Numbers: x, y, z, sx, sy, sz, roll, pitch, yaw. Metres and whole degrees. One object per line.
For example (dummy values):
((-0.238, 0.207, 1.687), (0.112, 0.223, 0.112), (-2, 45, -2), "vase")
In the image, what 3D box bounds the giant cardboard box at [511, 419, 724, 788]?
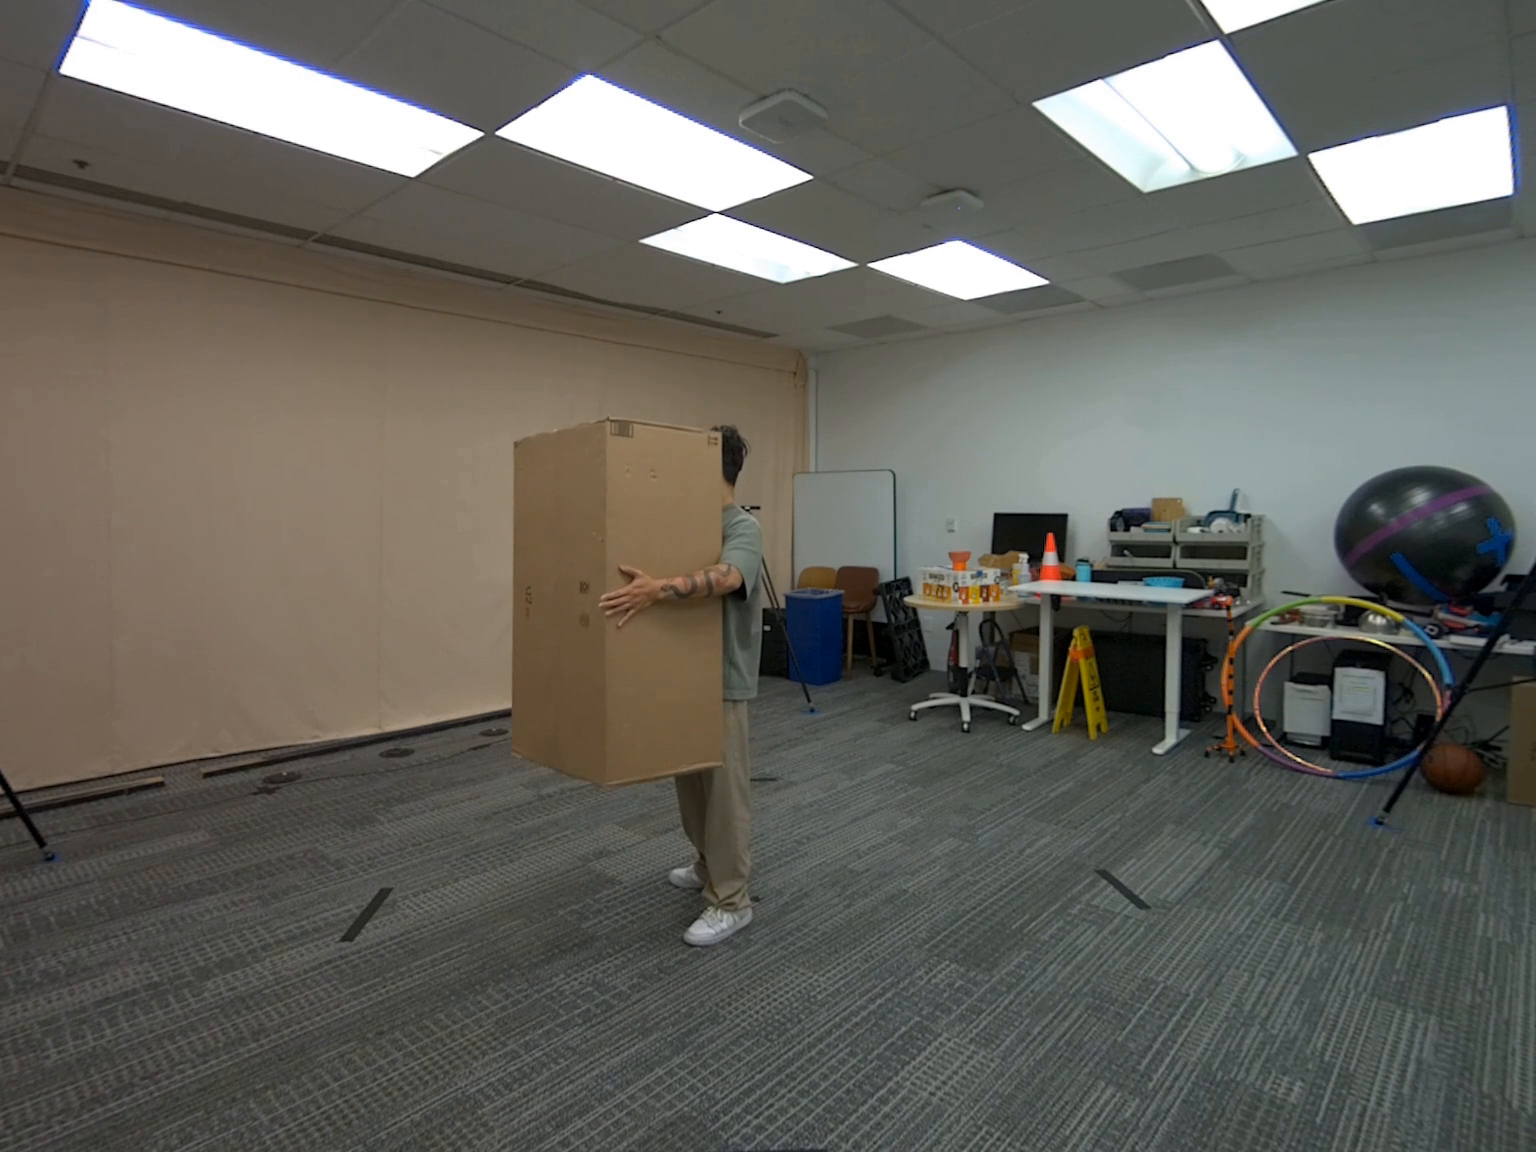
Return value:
((-0.489, 0.067, 2.658), (0.413, 1.027, 0.596), (1, -2, -41), "giant cardboard box")
